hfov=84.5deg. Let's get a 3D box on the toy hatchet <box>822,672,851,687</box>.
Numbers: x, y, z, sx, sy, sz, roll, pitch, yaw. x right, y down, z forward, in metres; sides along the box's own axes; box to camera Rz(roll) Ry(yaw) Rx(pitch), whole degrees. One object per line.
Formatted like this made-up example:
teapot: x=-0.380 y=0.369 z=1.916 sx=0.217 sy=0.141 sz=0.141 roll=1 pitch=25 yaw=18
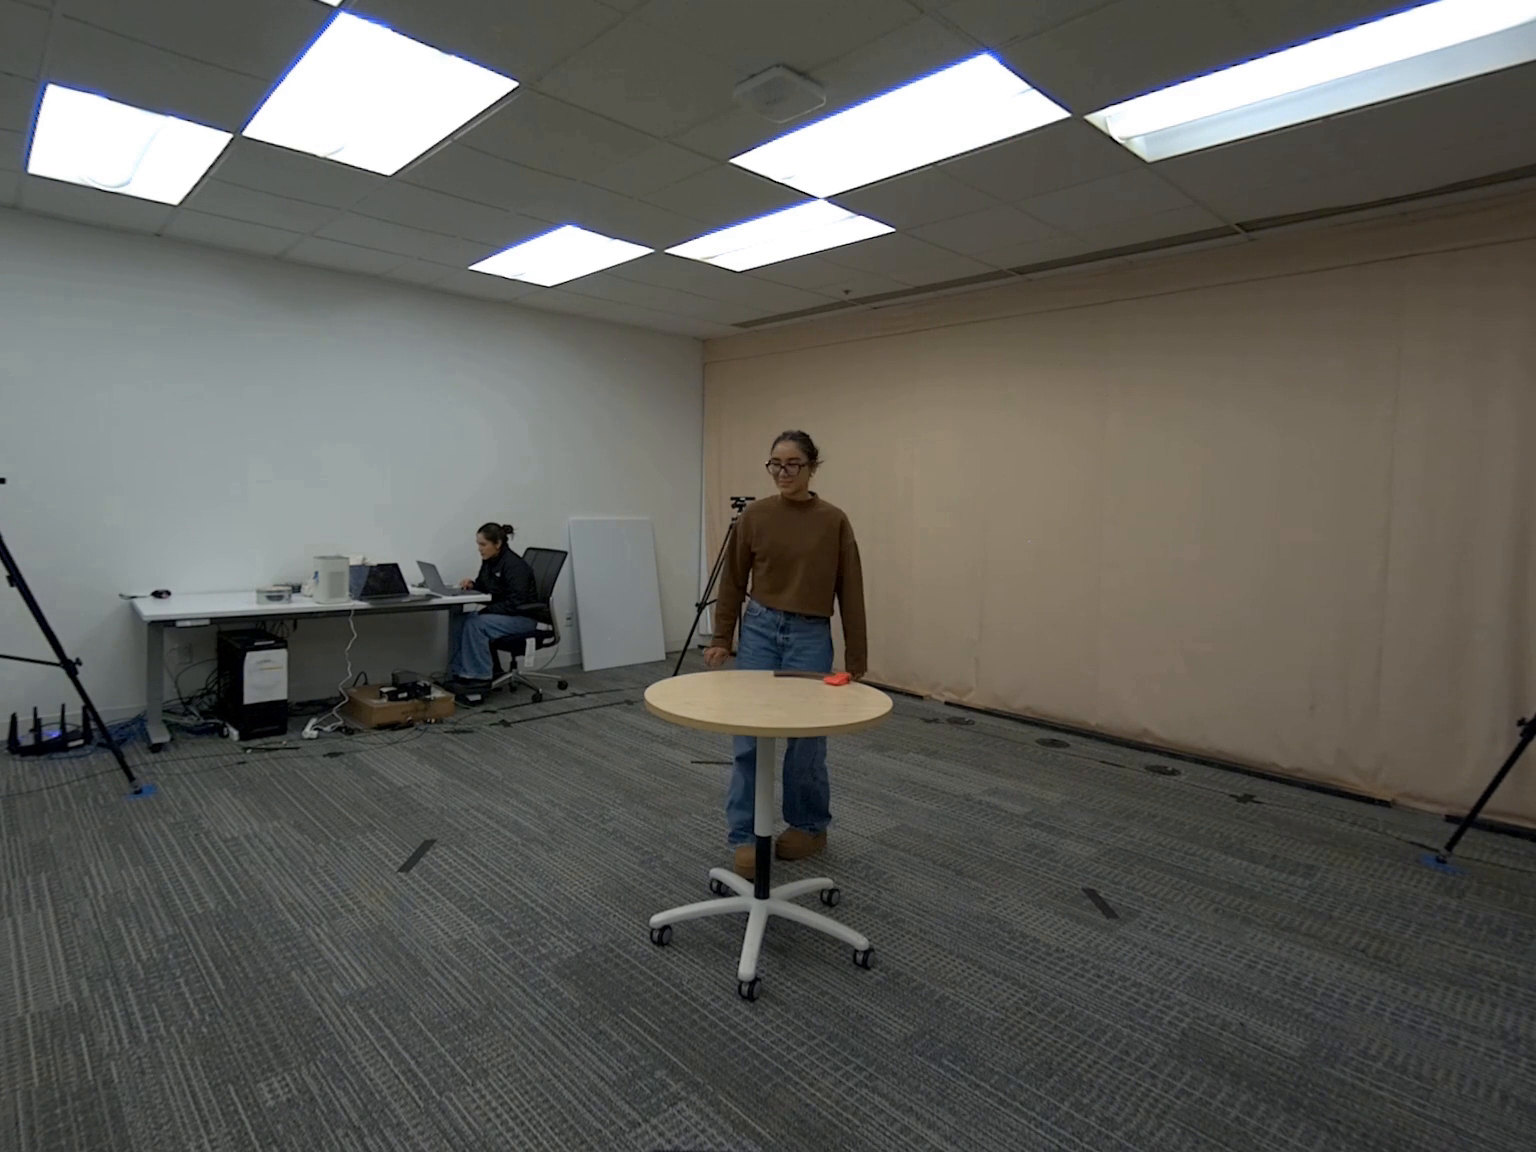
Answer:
toy hatchet: x=0.145 y=0.339 z=2.895 sx=0.276 sy=0.029 sz=0.128 roll=4 pitch=8 yaw=37
